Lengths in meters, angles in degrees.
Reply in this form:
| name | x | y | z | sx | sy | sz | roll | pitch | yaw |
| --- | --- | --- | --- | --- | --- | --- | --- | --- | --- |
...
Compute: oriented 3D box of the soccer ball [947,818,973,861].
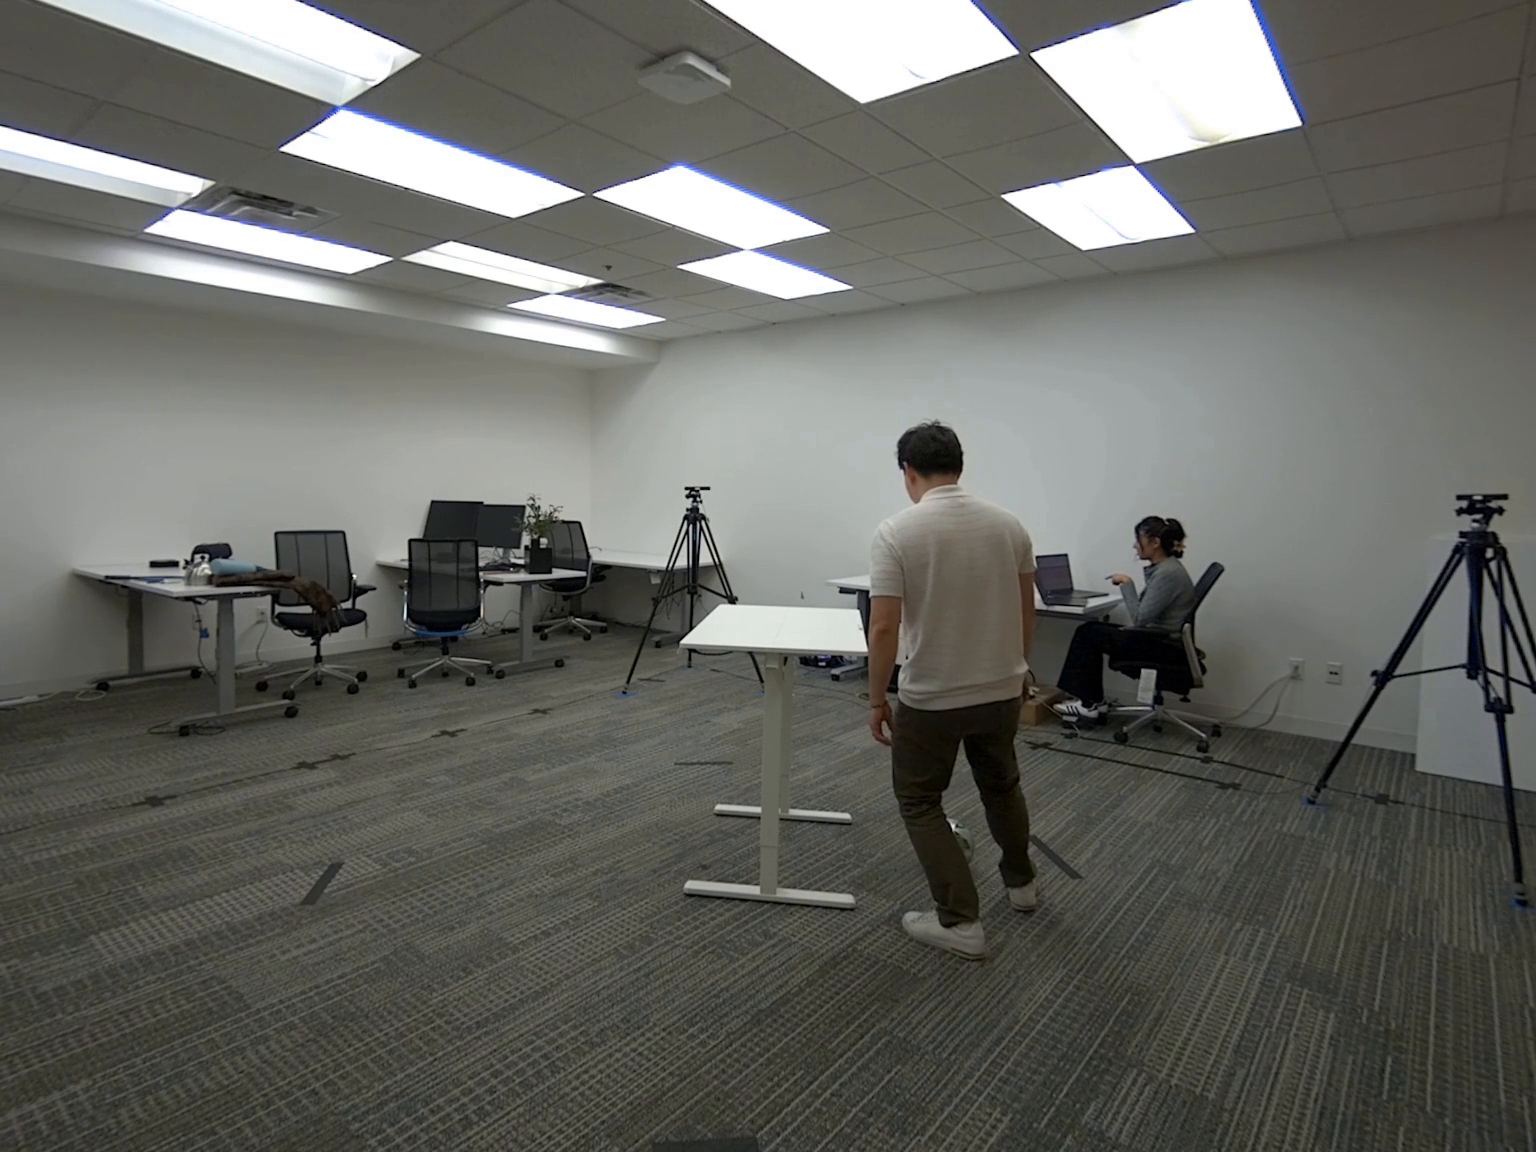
| name | x | y | z | sx | sy | sz | roll | pitch | yaw |
| --- | --- | --- | --- | --- | --- | --- | --- | --- | --- |
| soccer ball | 0.661 | 0.985 | 3.134 | 0.187 | 0.187 | 0.188 | 1 | 4 | -2 |
